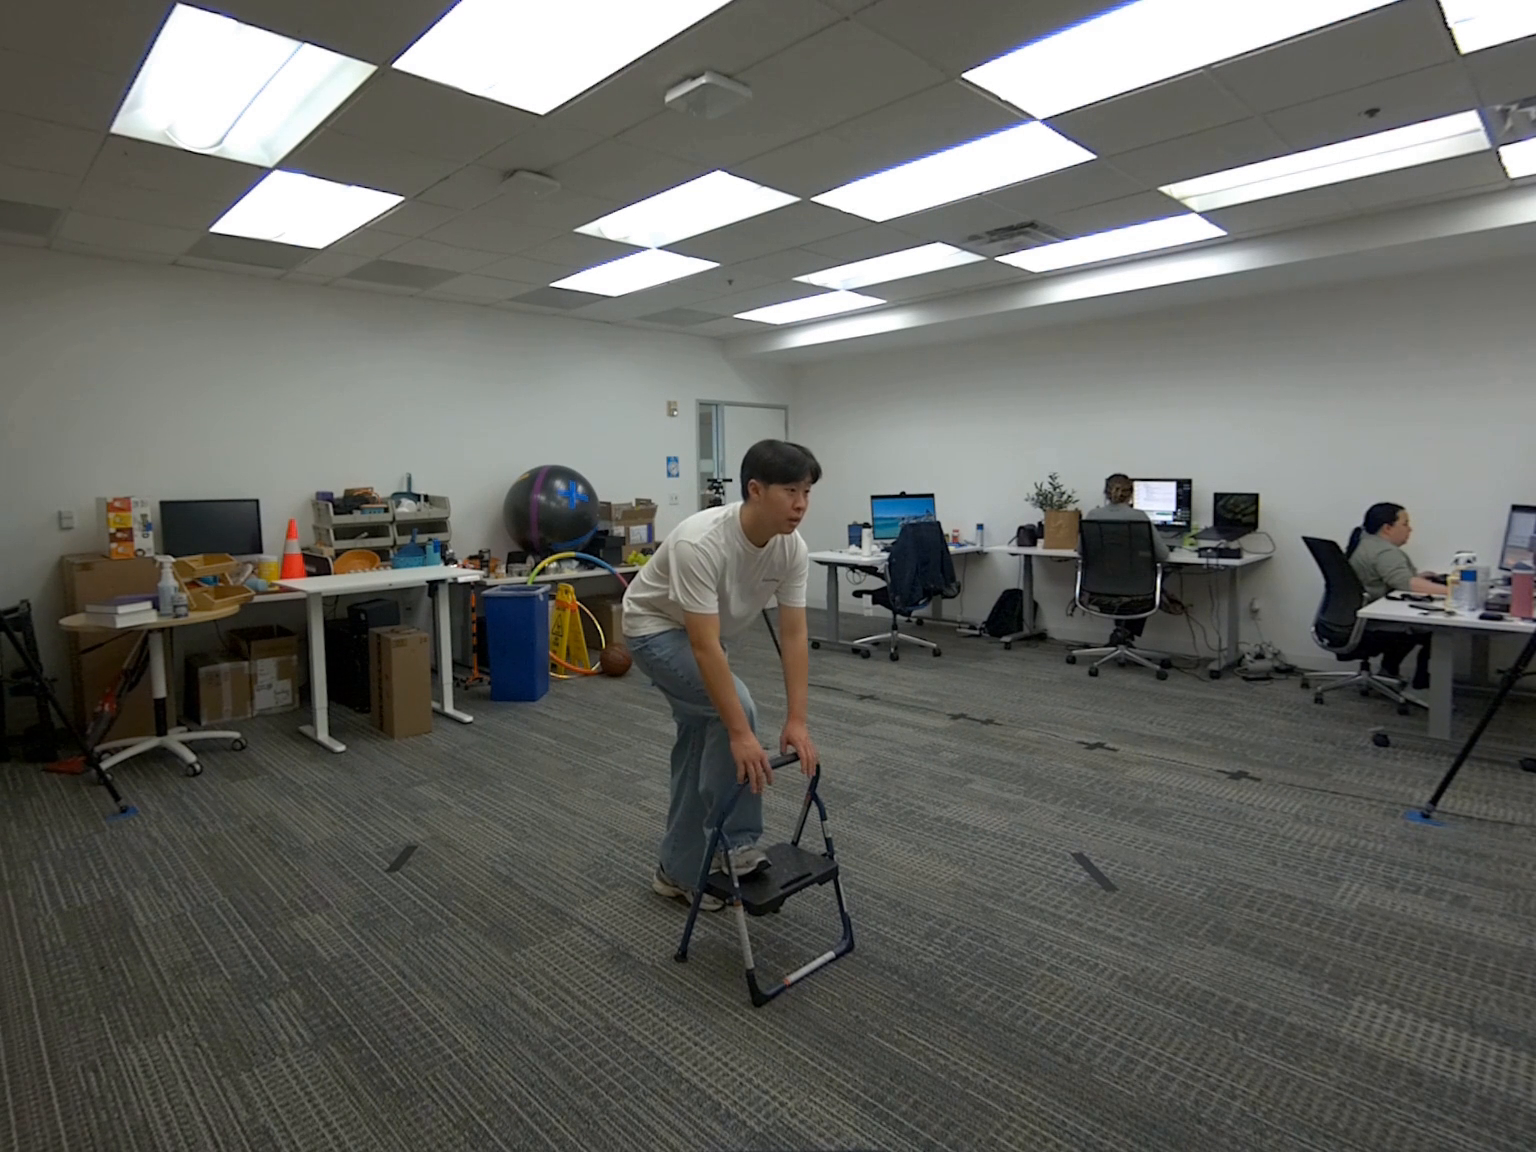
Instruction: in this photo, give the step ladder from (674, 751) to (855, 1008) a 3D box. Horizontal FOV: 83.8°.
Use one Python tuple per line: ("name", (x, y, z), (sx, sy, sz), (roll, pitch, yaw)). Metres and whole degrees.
("step ladder", (-0.005, 0.813, 2.496), (0.360, 0.604, 0.419), (3, 6, 44))
